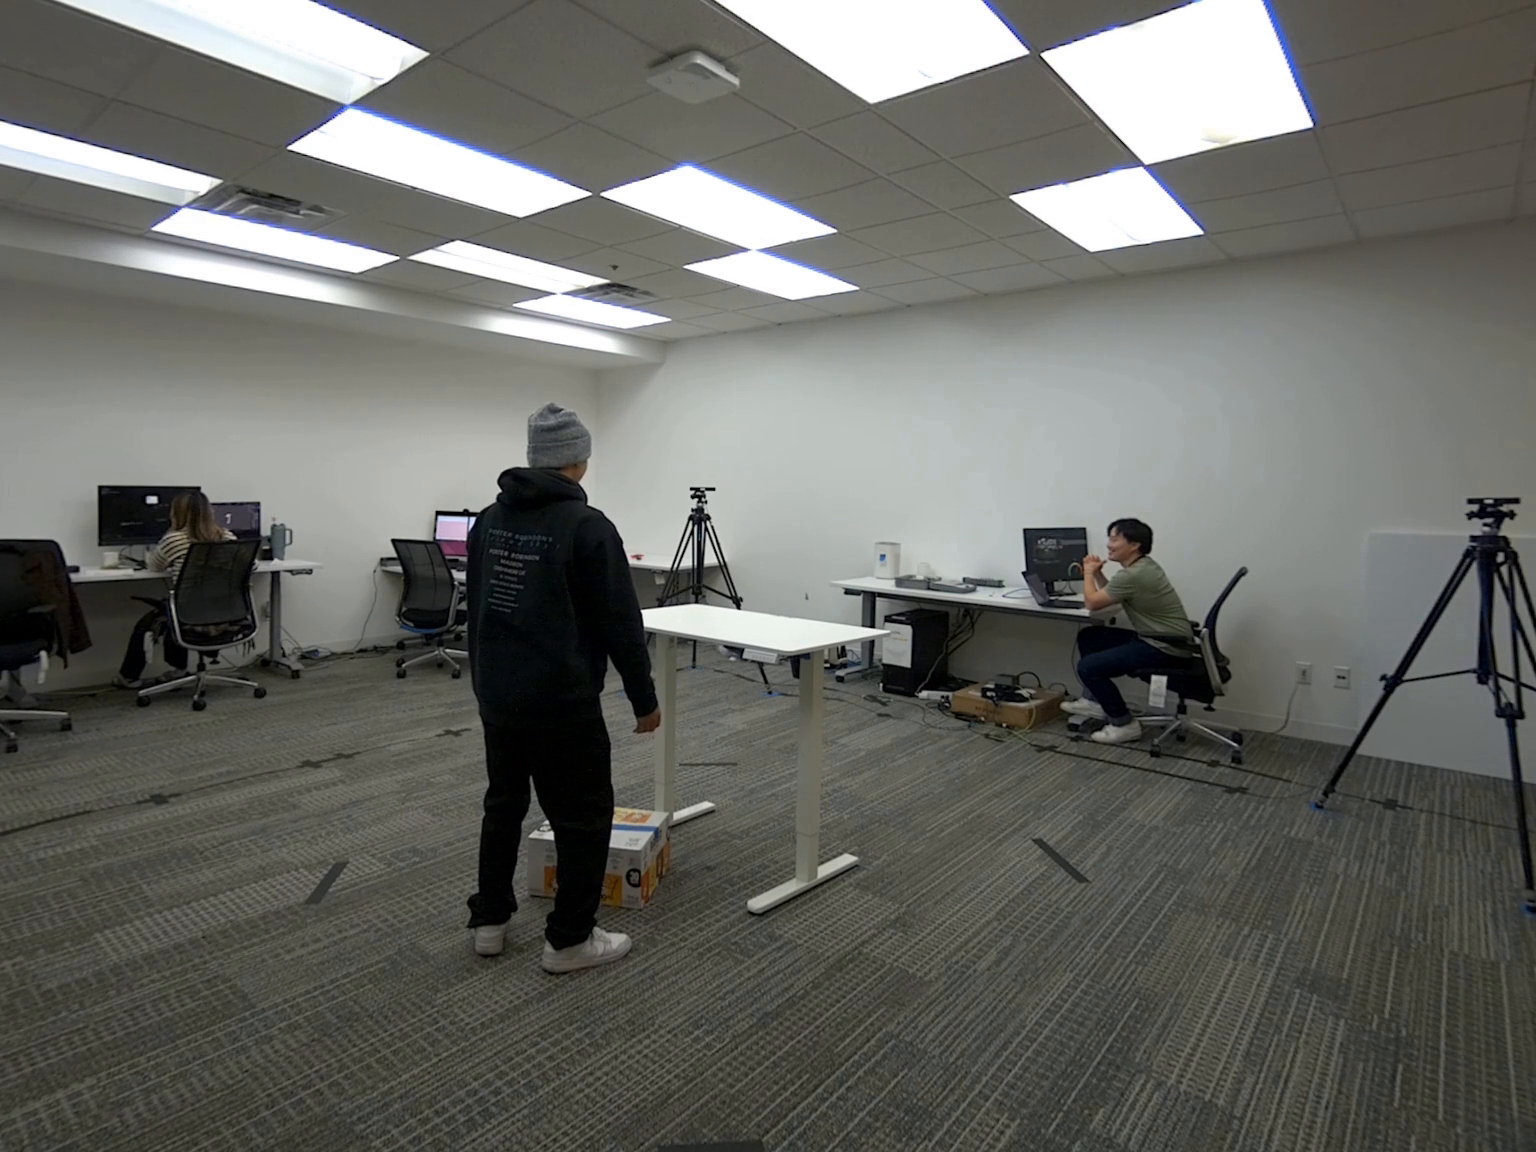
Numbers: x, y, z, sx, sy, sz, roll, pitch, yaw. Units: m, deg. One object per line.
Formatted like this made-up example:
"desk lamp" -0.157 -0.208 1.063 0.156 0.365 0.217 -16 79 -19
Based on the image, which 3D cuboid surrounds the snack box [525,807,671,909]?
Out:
"snack box" -0.595 0.971 2.984 0.411 0.205 0.337 2 4 12
